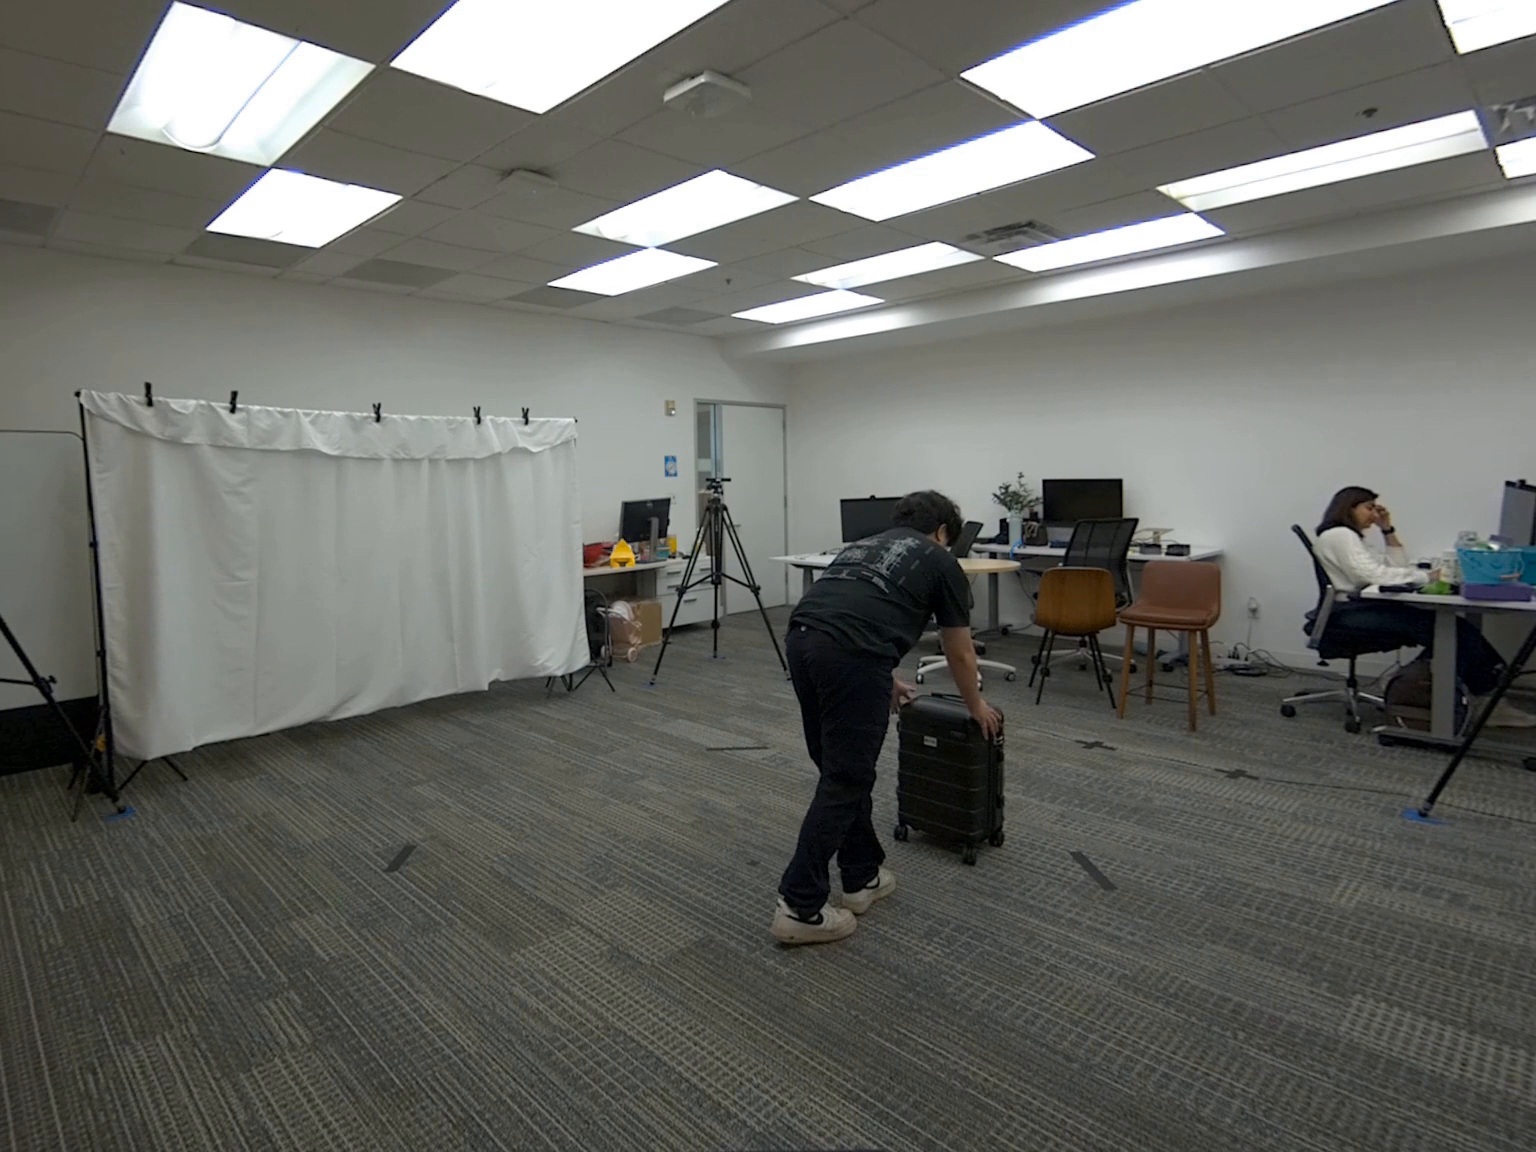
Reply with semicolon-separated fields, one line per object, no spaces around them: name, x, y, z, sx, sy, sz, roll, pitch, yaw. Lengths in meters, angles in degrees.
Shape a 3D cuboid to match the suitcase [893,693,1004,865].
suitcase;0.701;0.739;3.251;0.387;0.548;0.241;3;3;44
